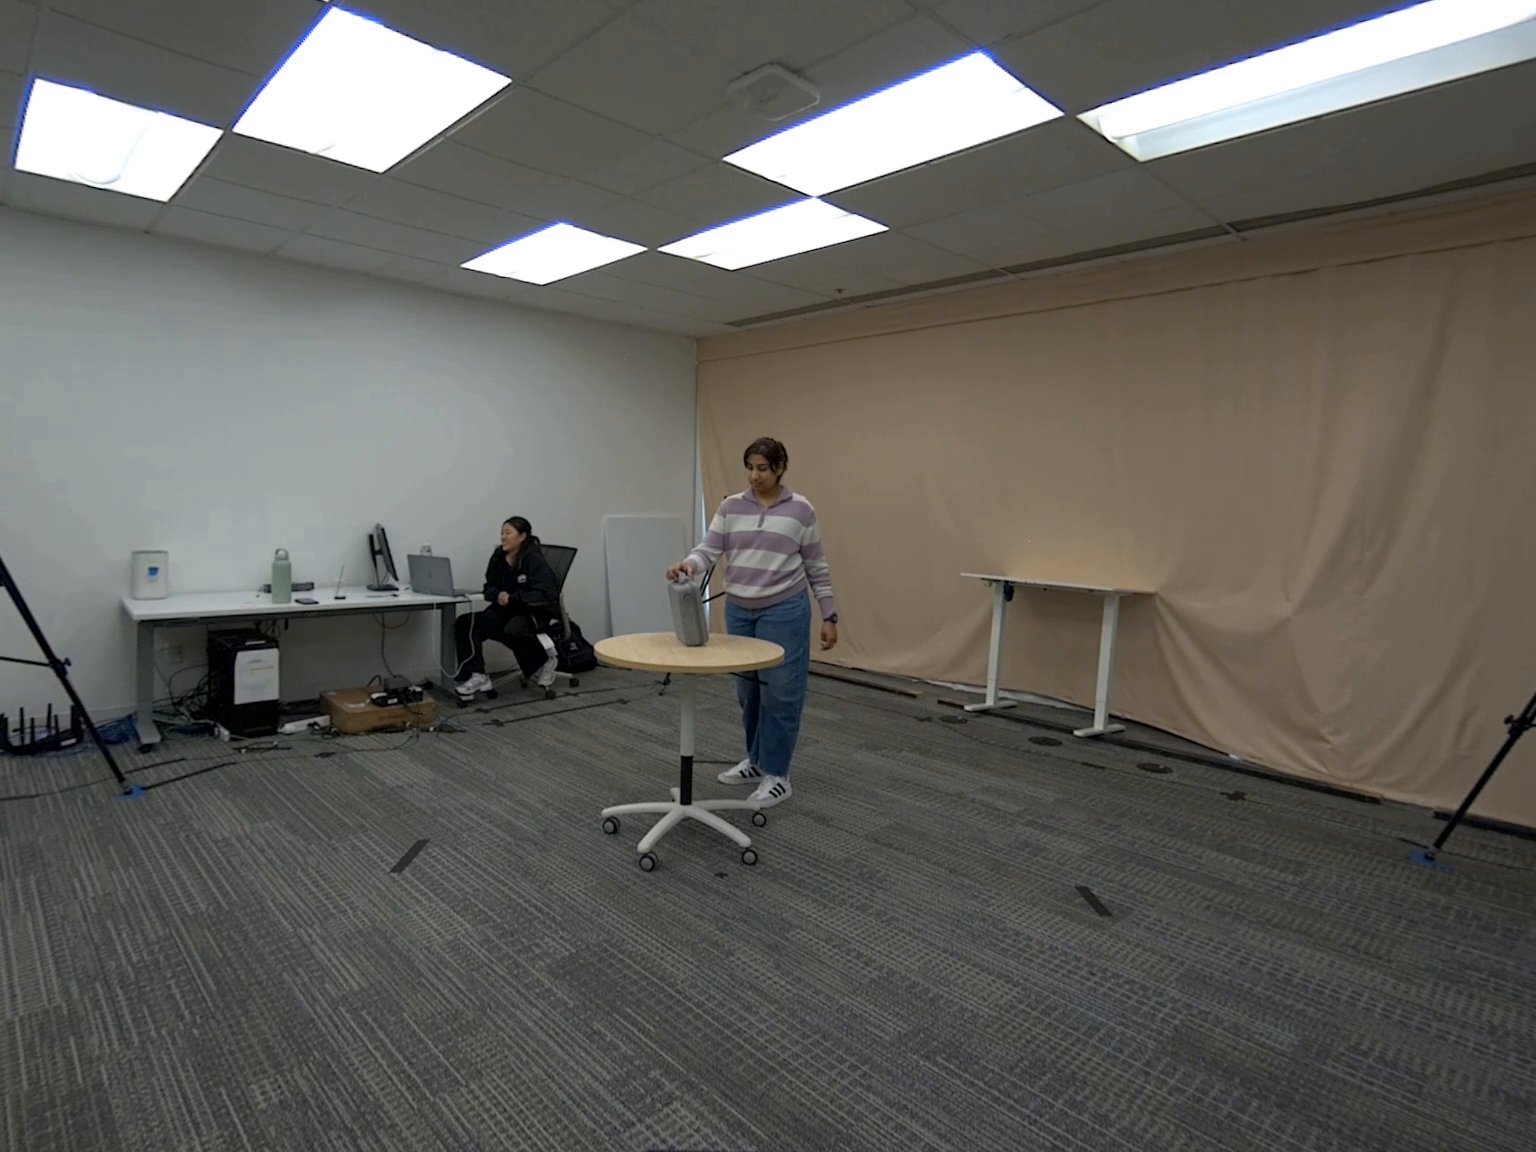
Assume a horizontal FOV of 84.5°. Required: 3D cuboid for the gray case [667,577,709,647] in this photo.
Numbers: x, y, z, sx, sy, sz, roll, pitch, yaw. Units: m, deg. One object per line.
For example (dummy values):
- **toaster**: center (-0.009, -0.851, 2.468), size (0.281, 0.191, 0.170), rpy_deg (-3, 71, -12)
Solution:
- **gray case**: center (-0.341, 0.149, 3.519), size (0.103, 0.260, 0.260), rpy_deg (-7, 5, -13)
